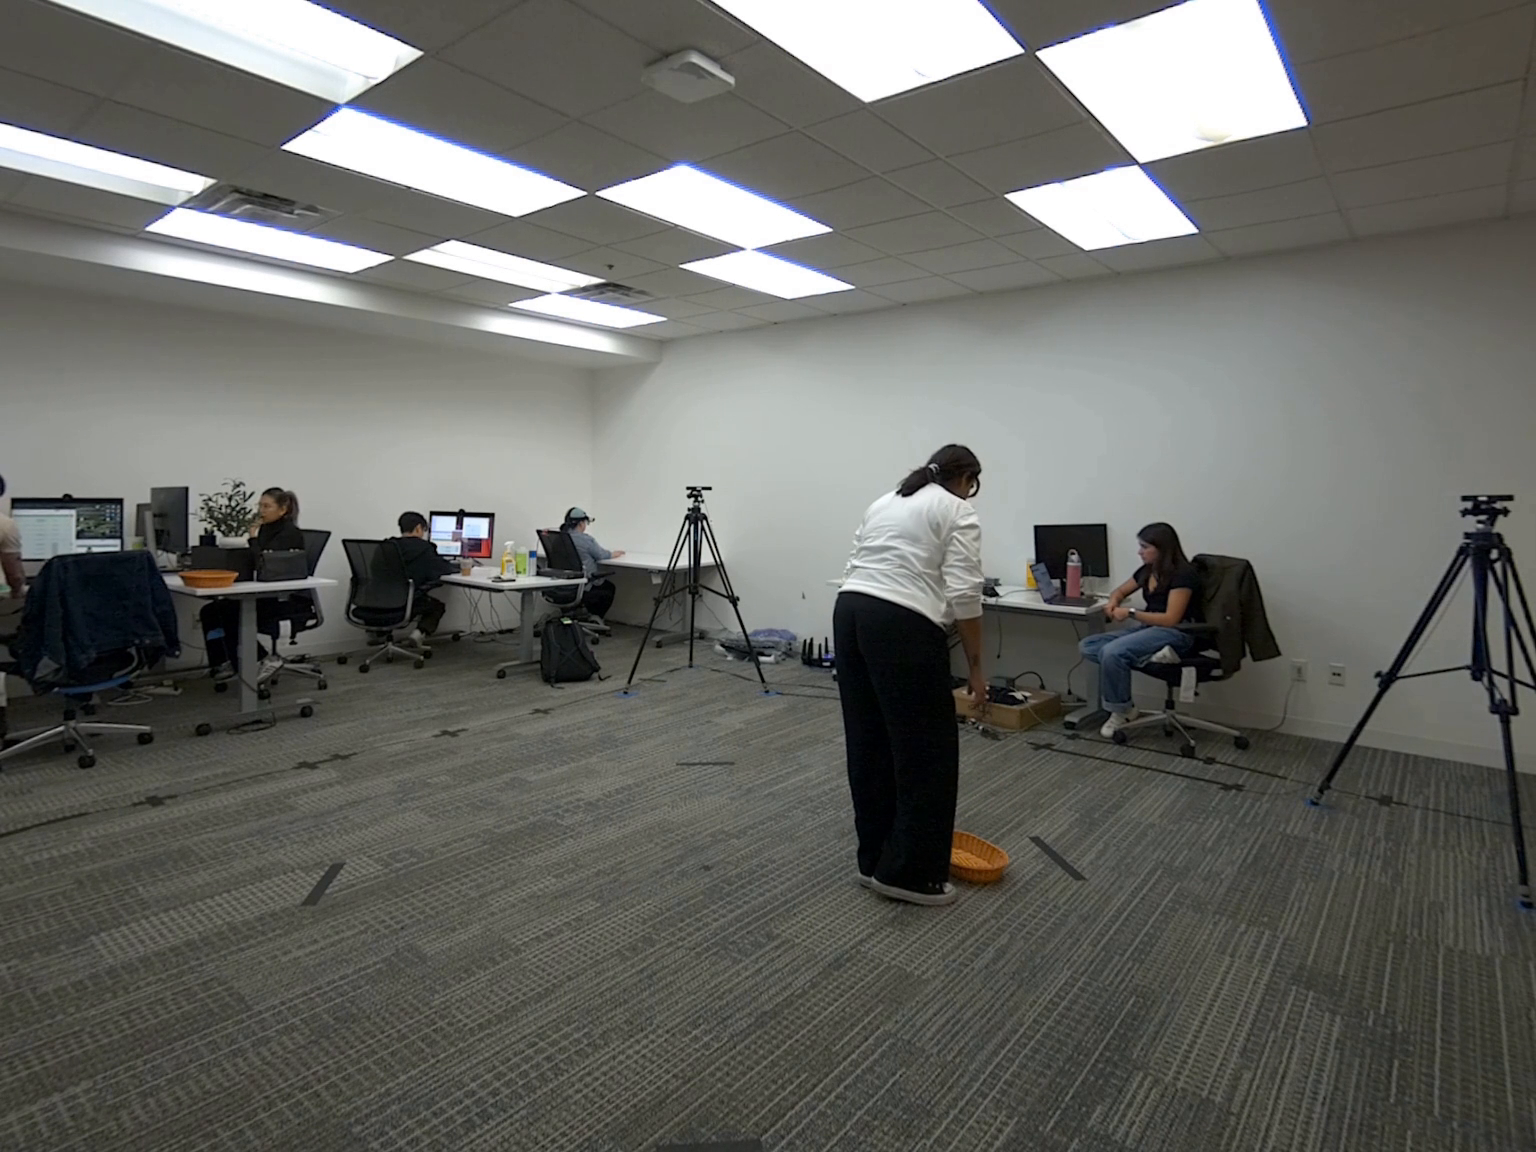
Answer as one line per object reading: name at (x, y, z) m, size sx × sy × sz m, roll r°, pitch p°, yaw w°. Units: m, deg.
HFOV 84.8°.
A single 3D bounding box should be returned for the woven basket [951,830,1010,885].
woven basket at (0.726, 1.046, 3.158) m, size 0.246 × 0.073 × 0.362 m, roll -4°, pitch 8°, yaw -32°
